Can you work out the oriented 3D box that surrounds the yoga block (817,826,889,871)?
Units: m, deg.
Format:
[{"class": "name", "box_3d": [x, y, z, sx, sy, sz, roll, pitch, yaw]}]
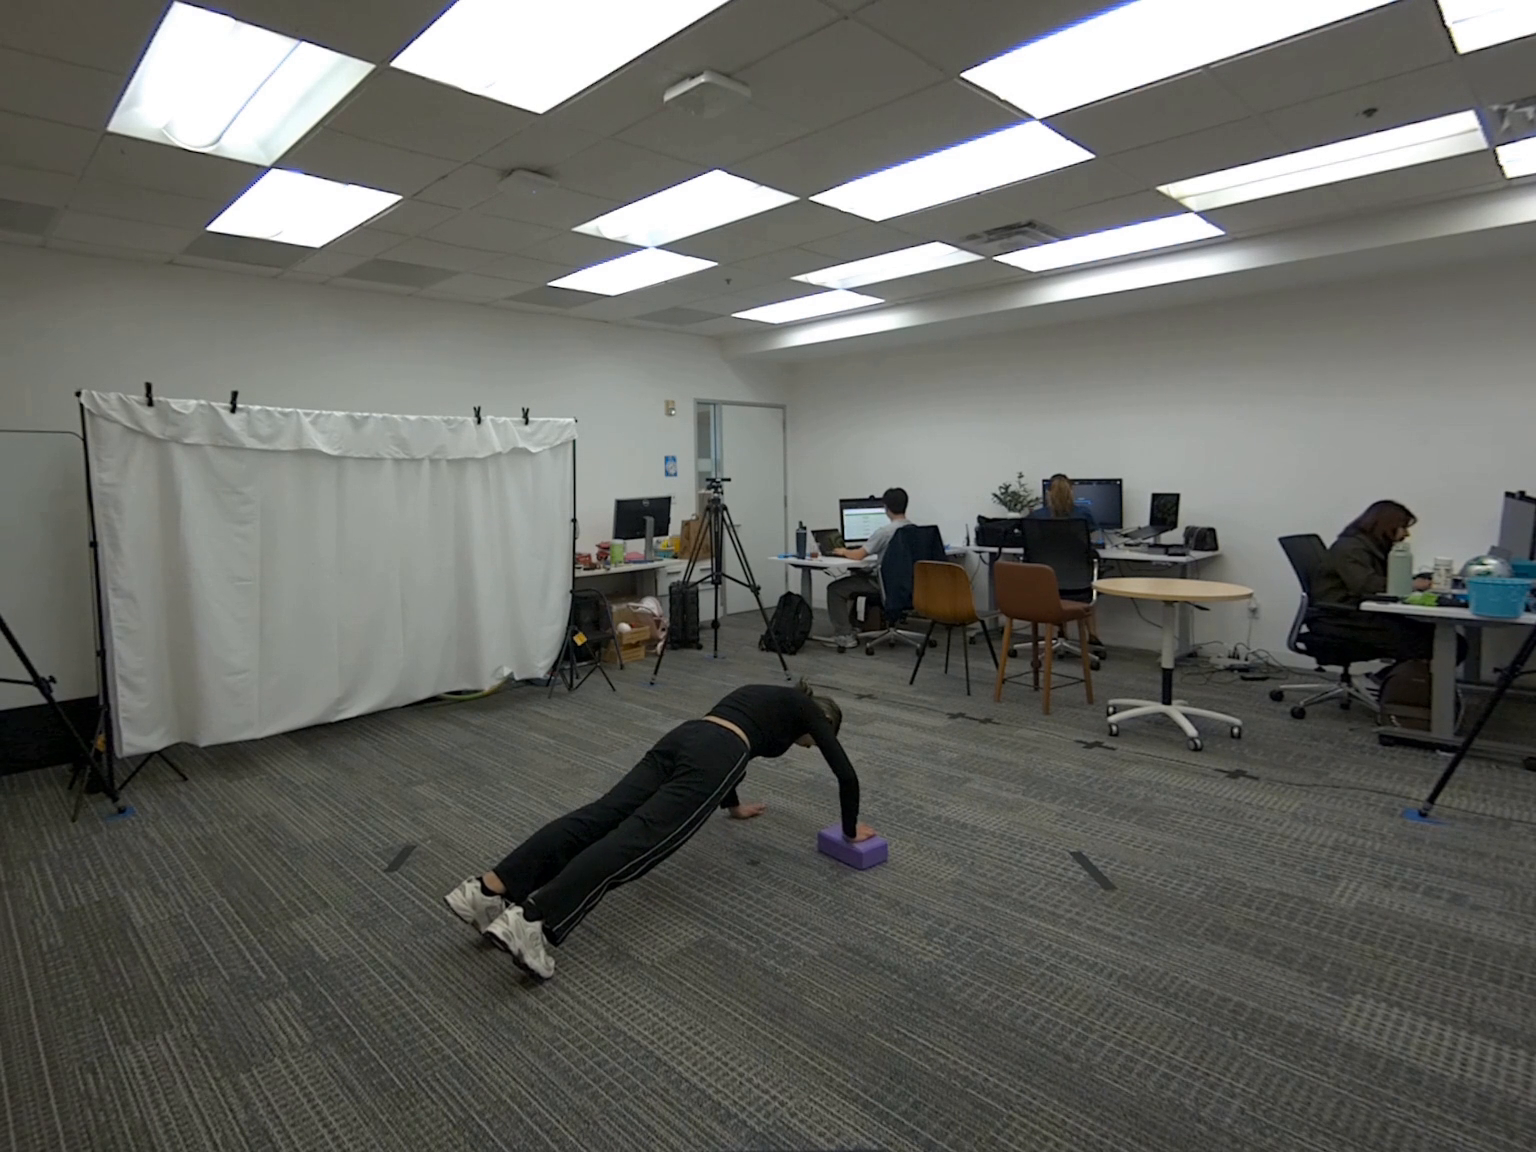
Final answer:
[{"class": "yoga block", "box_3d": [0.311, 0.994, 3.152, 0.145, 0.076, 0.236, -5, 9, -37]}]
